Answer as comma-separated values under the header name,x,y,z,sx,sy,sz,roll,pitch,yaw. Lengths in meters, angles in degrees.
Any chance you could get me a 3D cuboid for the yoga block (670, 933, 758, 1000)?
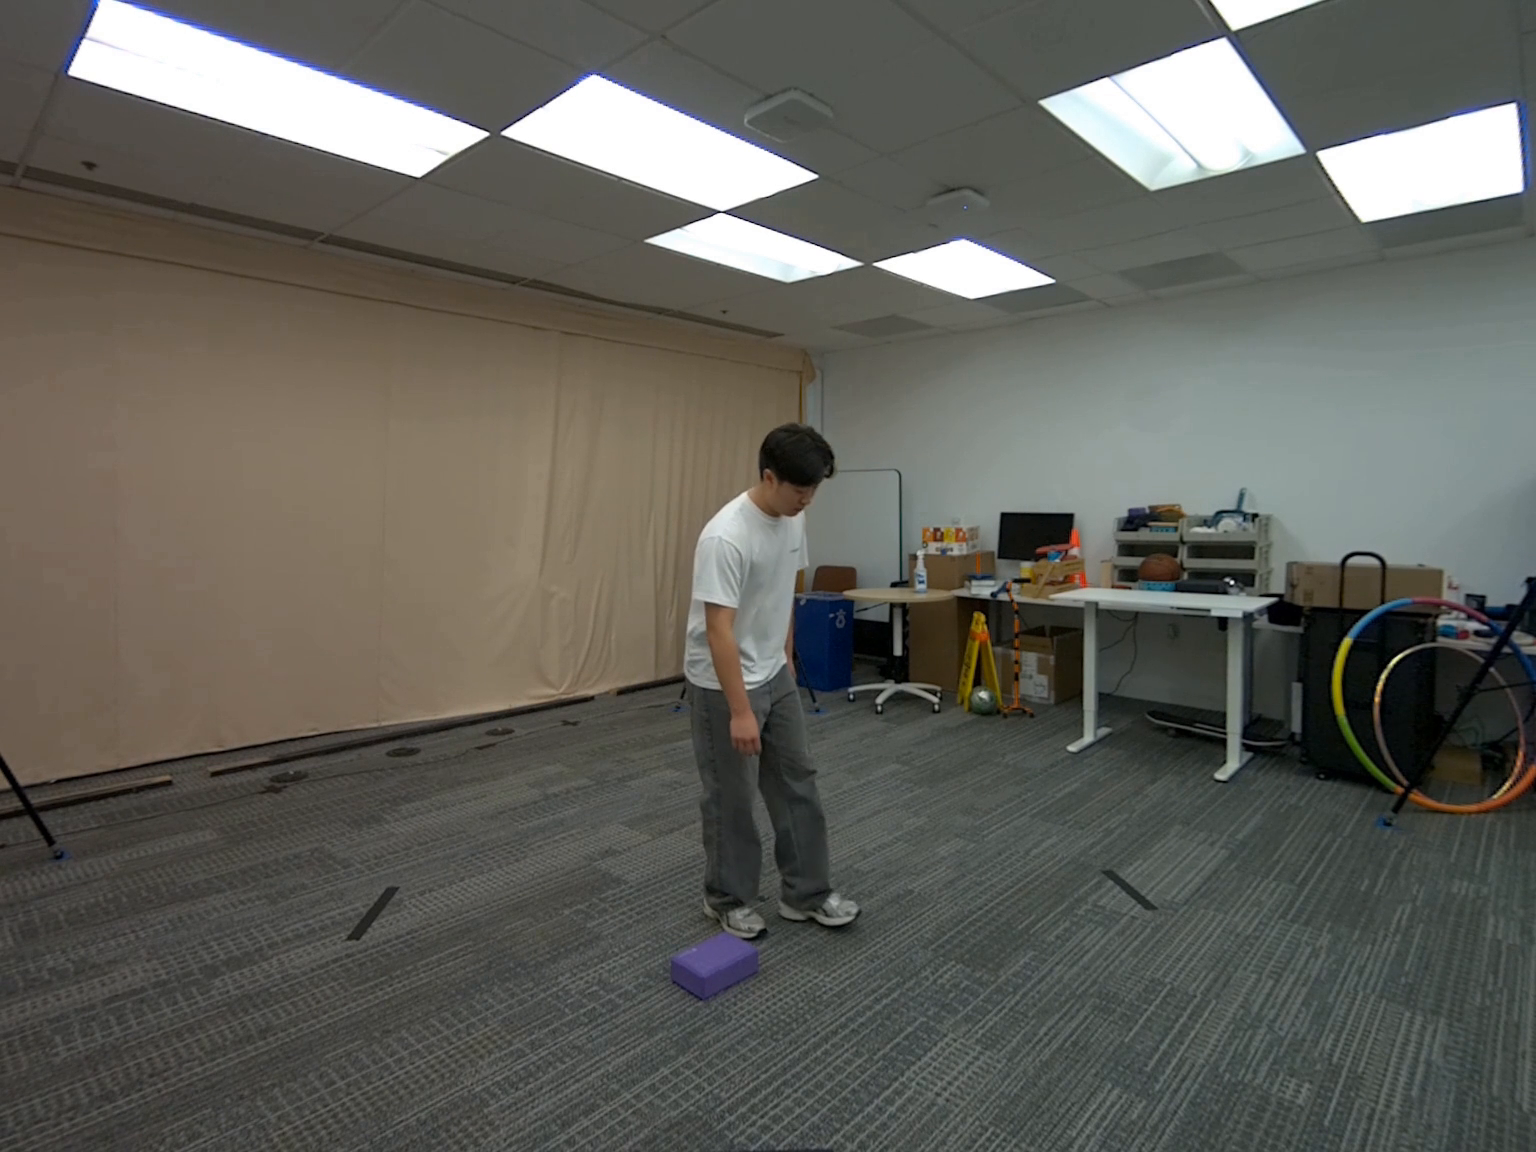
name,x,y,z,sx,sy,sz,roll,pitch,yaw
yoga block,-0.154,1.143,2.487,0.222,0.076,0.154,-5,7,-45
